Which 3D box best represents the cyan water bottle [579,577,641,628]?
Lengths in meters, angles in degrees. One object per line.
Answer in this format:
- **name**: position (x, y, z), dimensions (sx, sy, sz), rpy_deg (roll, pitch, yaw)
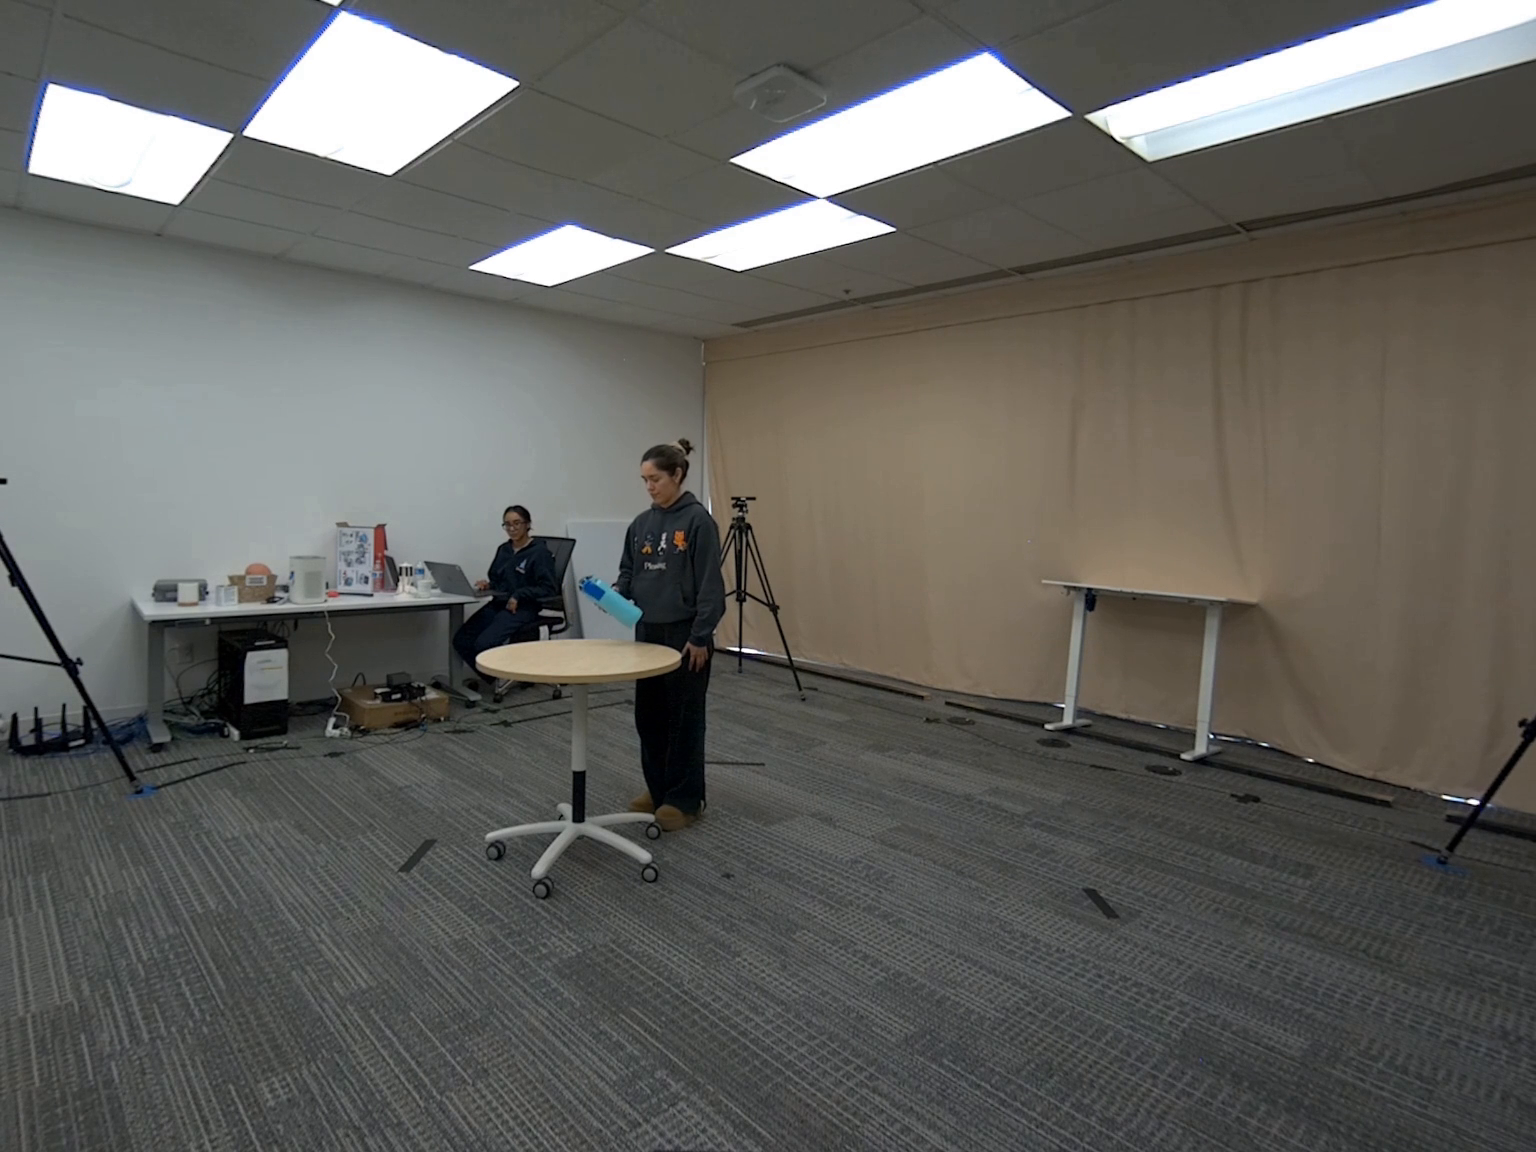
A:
- **cyan water bottle**: position (-0.673, 0.071, 3.440), dimensions (0.280, 0.092, 0.093), rpy_deg (39, -4, -12)
